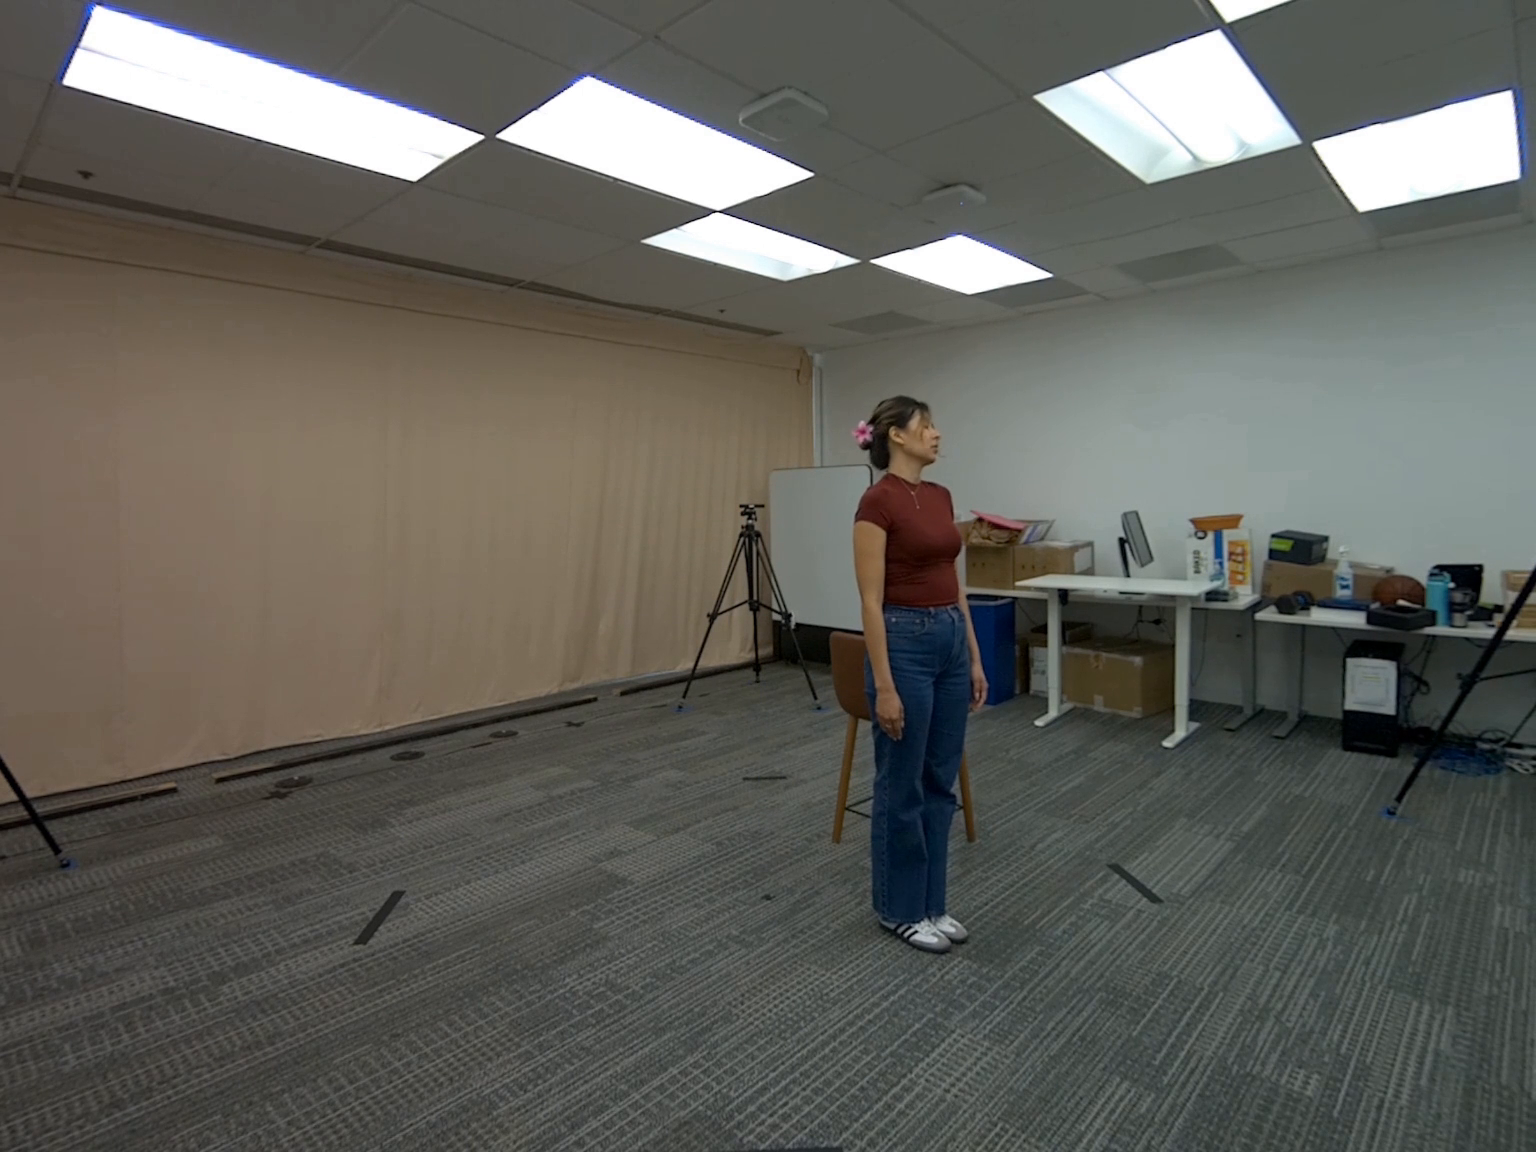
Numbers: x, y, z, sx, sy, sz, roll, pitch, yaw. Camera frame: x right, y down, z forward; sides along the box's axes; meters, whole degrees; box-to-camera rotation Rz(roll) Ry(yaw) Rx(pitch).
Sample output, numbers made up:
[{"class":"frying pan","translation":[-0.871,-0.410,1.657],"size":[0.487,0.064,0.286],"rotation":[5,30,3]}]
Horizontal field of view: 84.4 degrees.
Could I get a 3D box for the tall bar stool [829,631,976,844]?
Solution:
[{"class":"tall bar stool","translation":[0.546,0.655,3.439],"size":[0.453,0.887,0.471],"rotation":[-5,5,-42]}]
